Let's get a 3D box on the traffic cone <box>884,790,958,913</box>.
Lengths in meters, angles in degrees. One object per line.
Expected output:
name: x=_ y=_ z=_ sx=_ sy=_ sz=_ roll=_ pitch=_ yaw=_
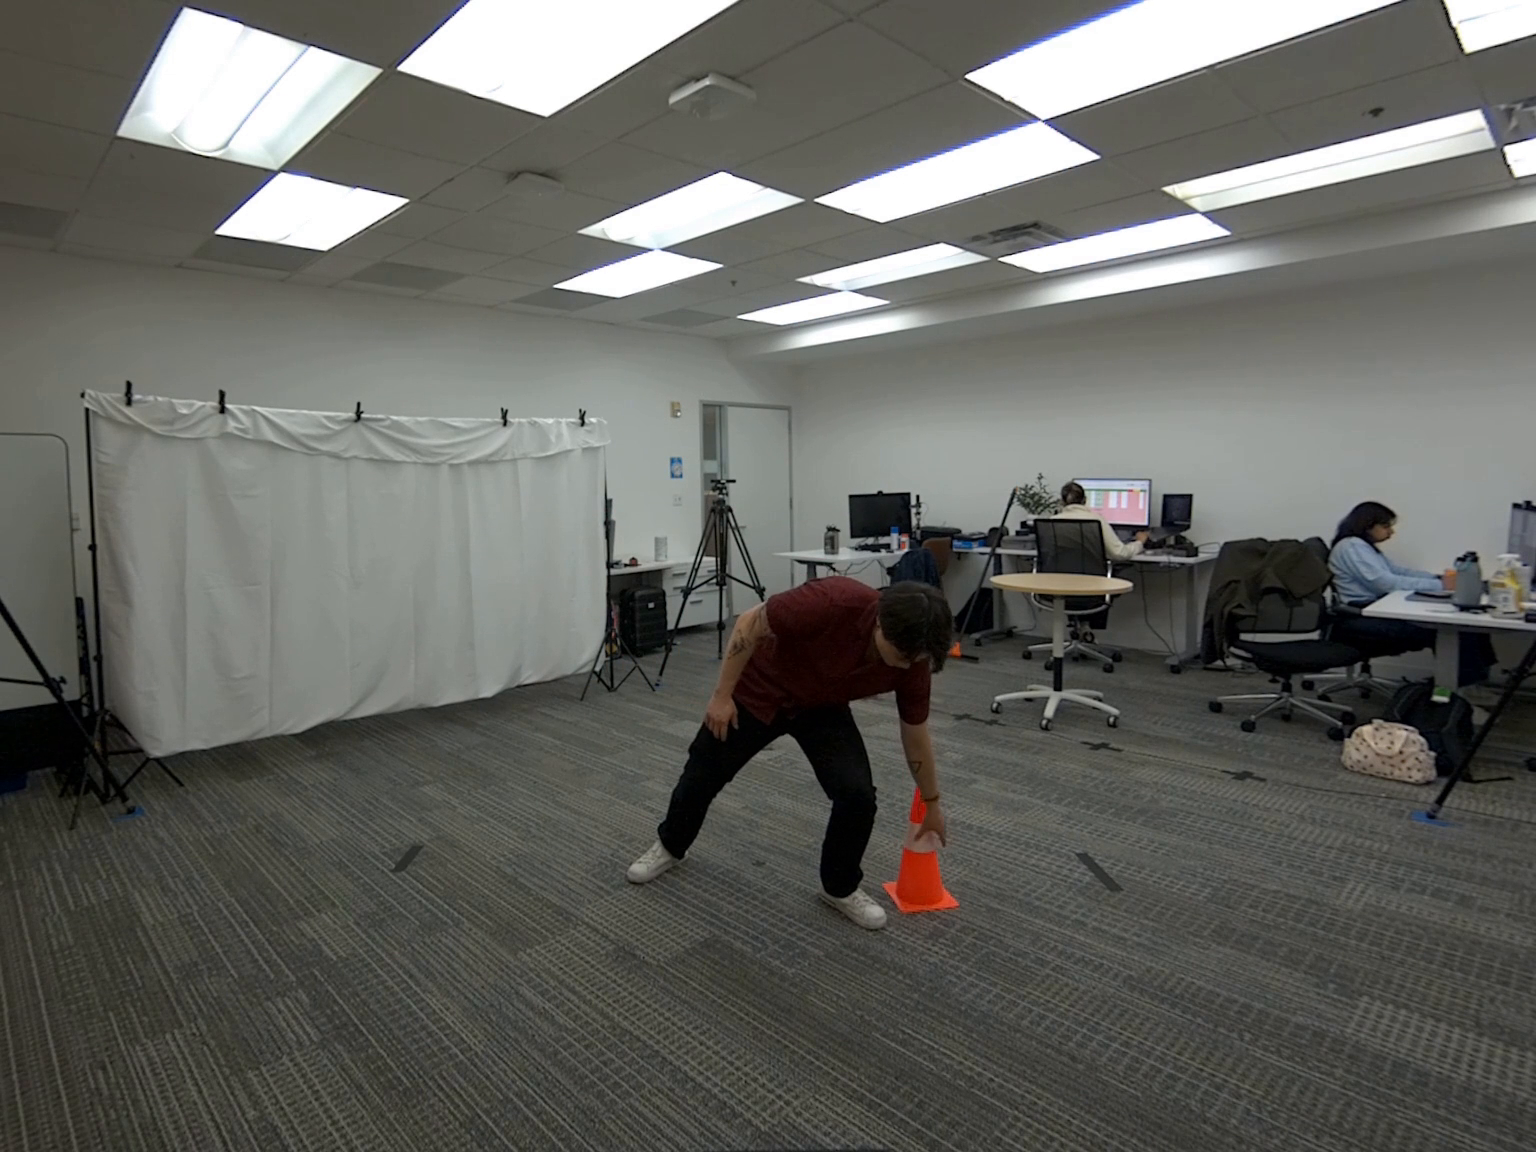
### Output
traffic cone: x=0.496 y=0.874 z=2.846 sx=0.203 sy=0.382 sz=0.206 roll=-4 pitch=4 yaw=-13
